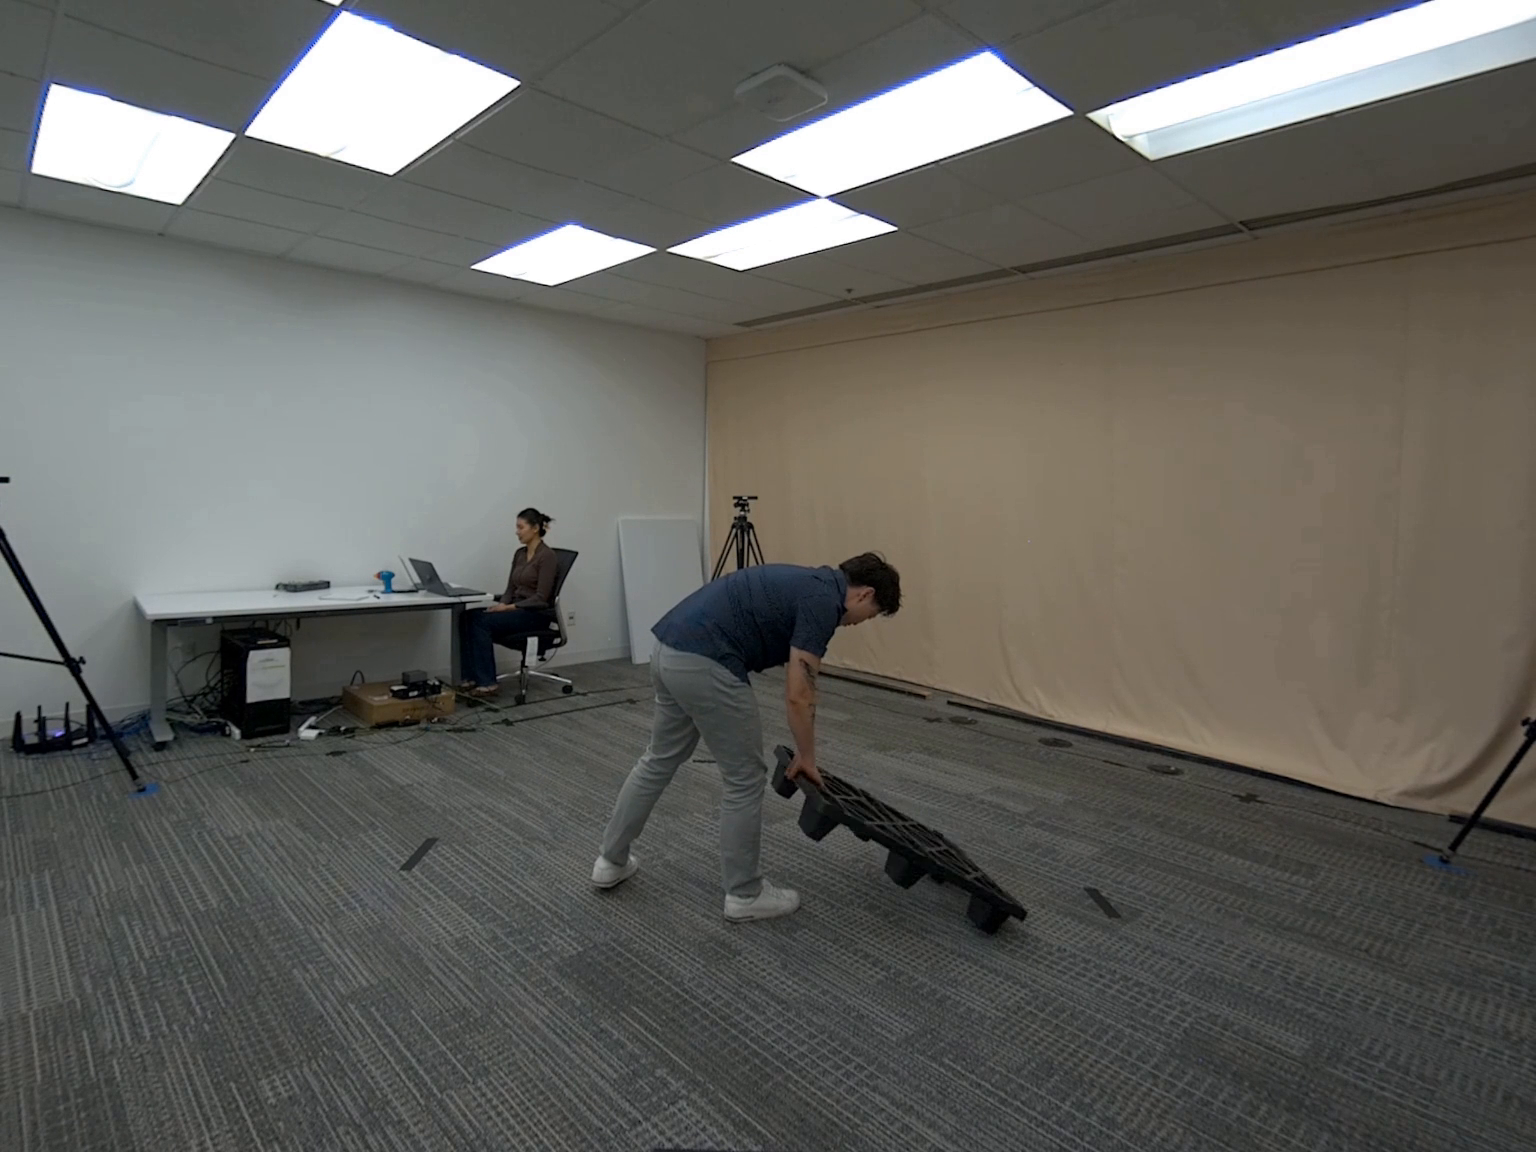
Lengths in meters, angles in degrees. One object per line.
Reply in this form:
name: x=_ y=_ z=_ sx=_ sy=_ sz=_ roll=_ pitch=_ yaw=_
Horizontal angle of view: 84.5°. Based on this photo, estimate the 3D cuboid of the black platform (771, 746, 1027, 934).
black platform: x=0.388 y=0.894 z=2.892 sx=0.796 sy=0.143 sz=0.612 roll=32 pitch=-3 yaw=-12
